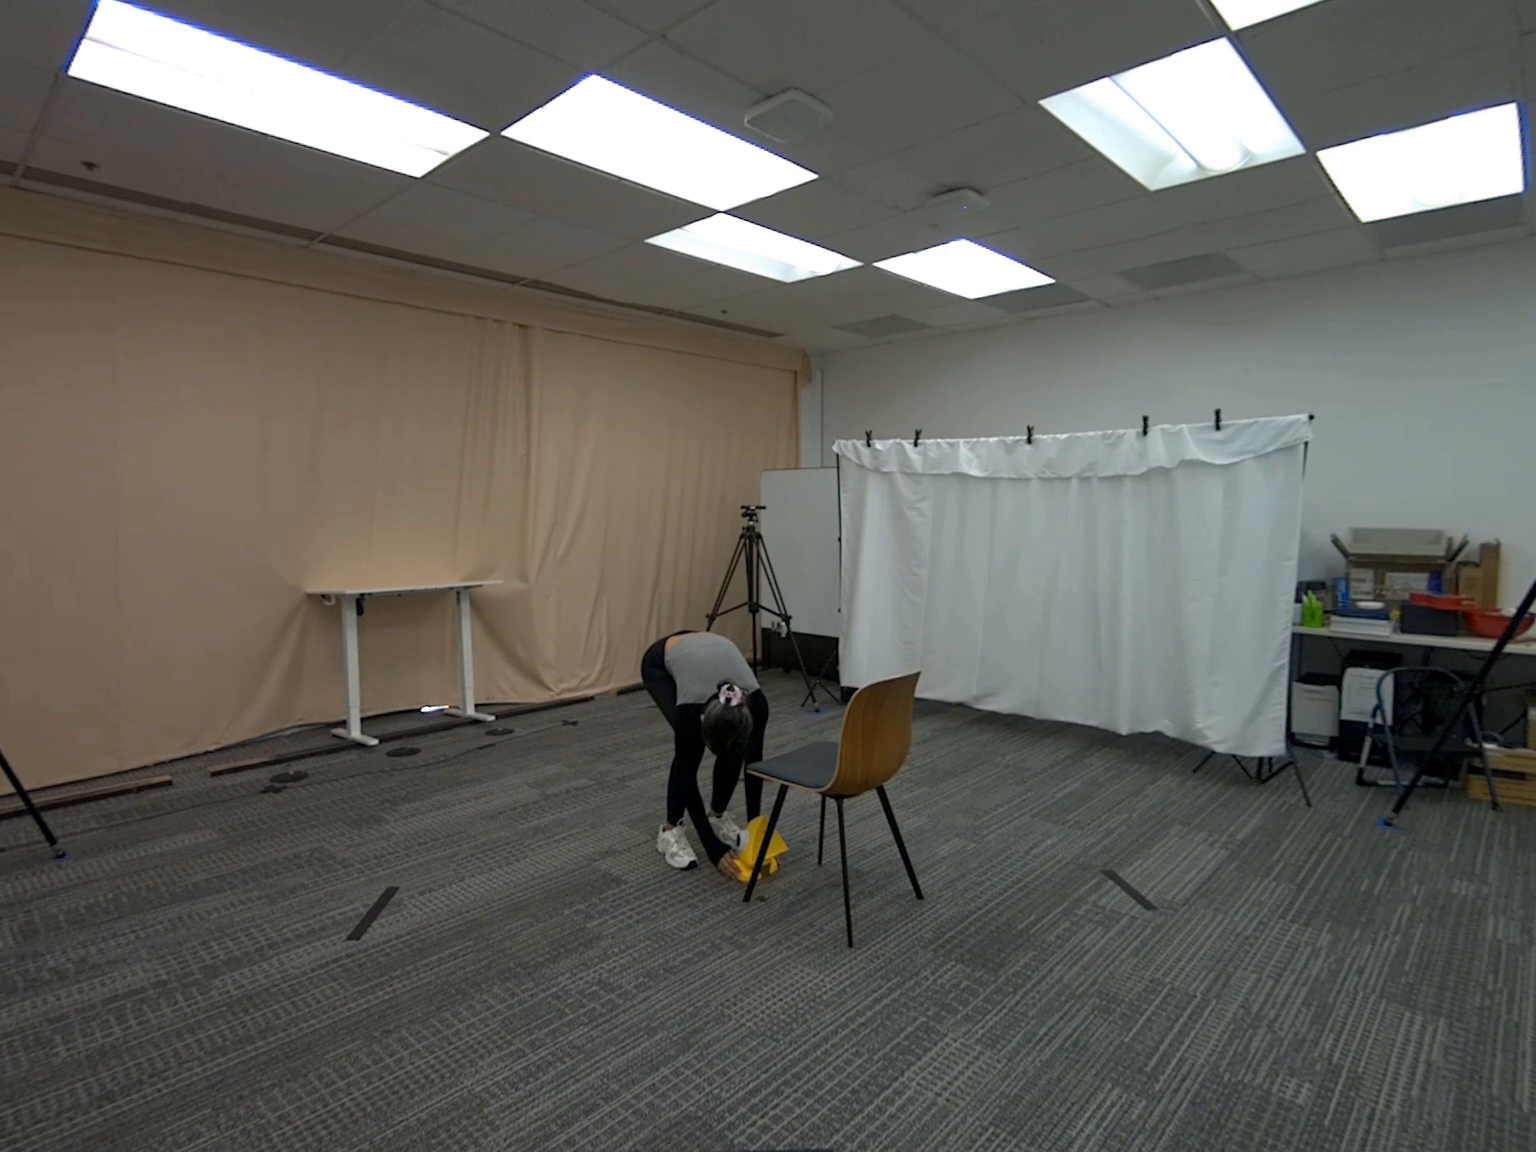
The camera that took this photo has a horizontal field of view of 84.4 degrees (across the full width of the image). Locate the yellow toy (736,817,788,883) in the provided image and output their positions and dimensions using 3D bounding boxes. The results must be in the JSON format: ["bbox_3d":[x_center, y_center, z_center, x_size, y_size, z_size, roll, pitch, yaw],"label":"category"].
[{"bbox_3d":[-0.050,1.014,3.208,0.198,0.230,0.200,-2,6,-45],"label":"yellow toy"}]
